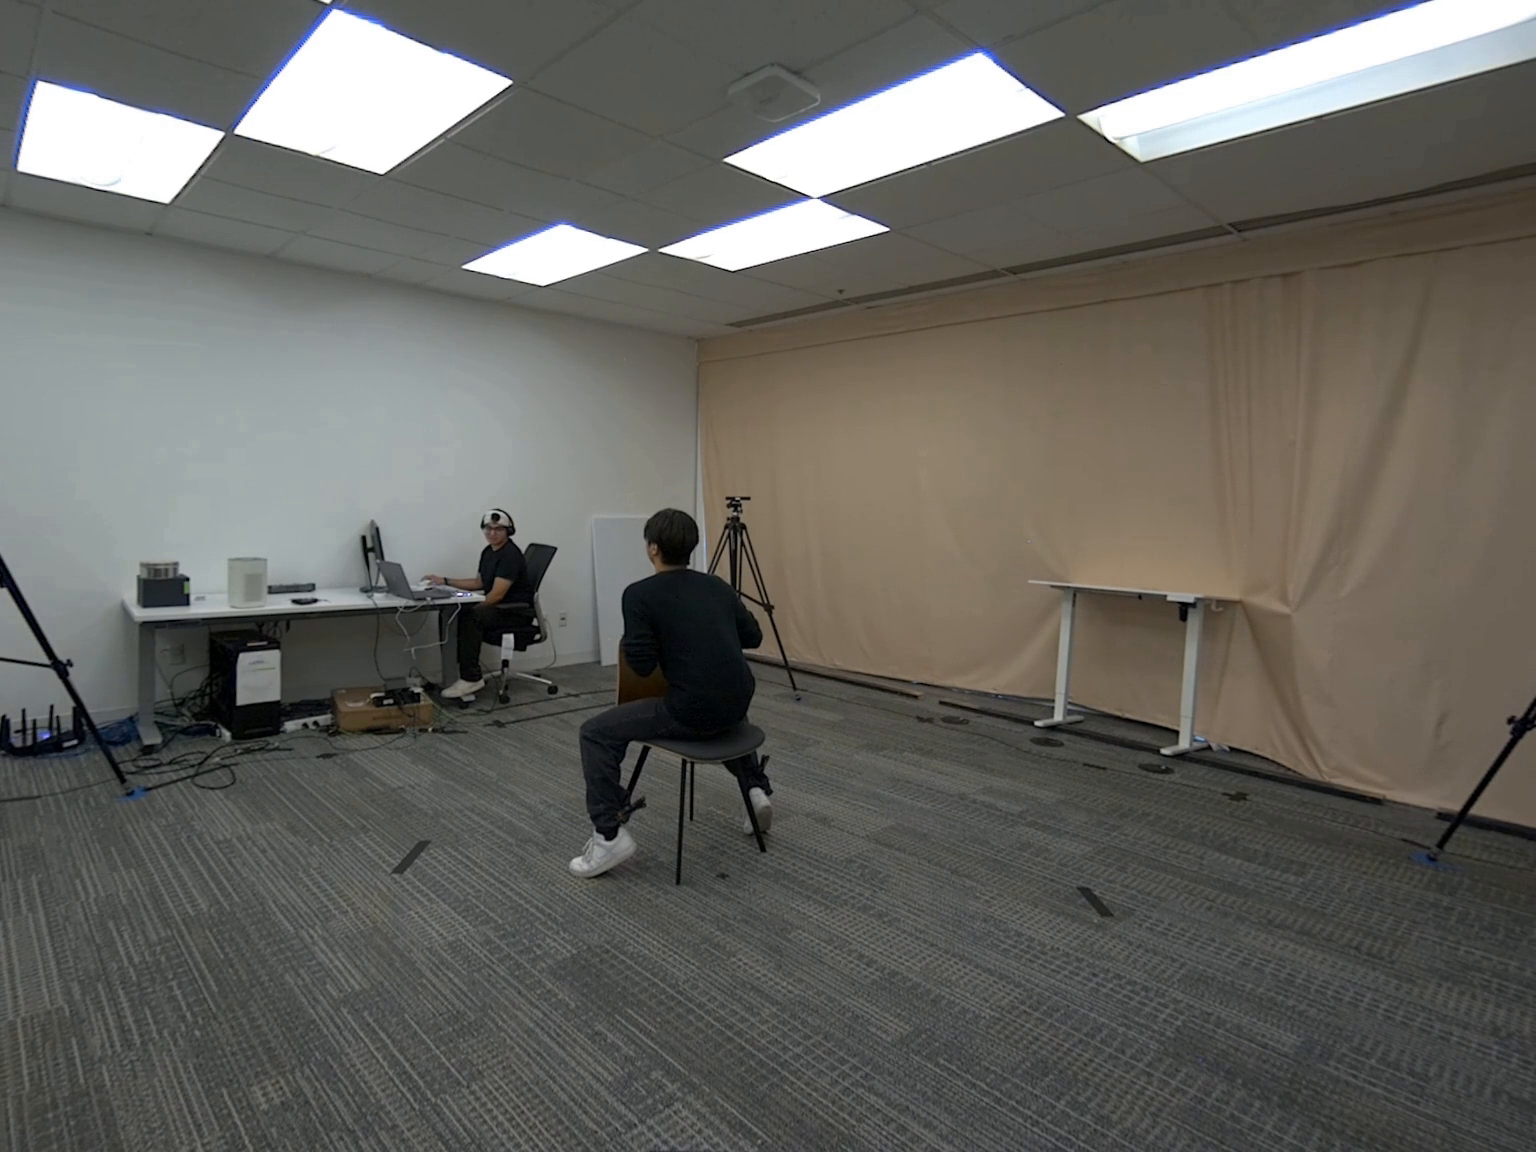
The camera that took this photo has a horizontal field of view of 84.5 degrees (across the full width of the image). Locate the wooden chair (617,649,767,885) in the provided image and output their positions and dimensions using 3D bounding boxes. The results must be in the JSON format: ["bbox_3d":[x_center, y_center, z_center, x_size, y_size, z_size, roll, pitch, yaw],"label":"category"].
[{"bbox_3d":[-0.310,0.661,3.297,0.467,0.877,0.535,-2,0,-44],"label":"wooden chair"}]
